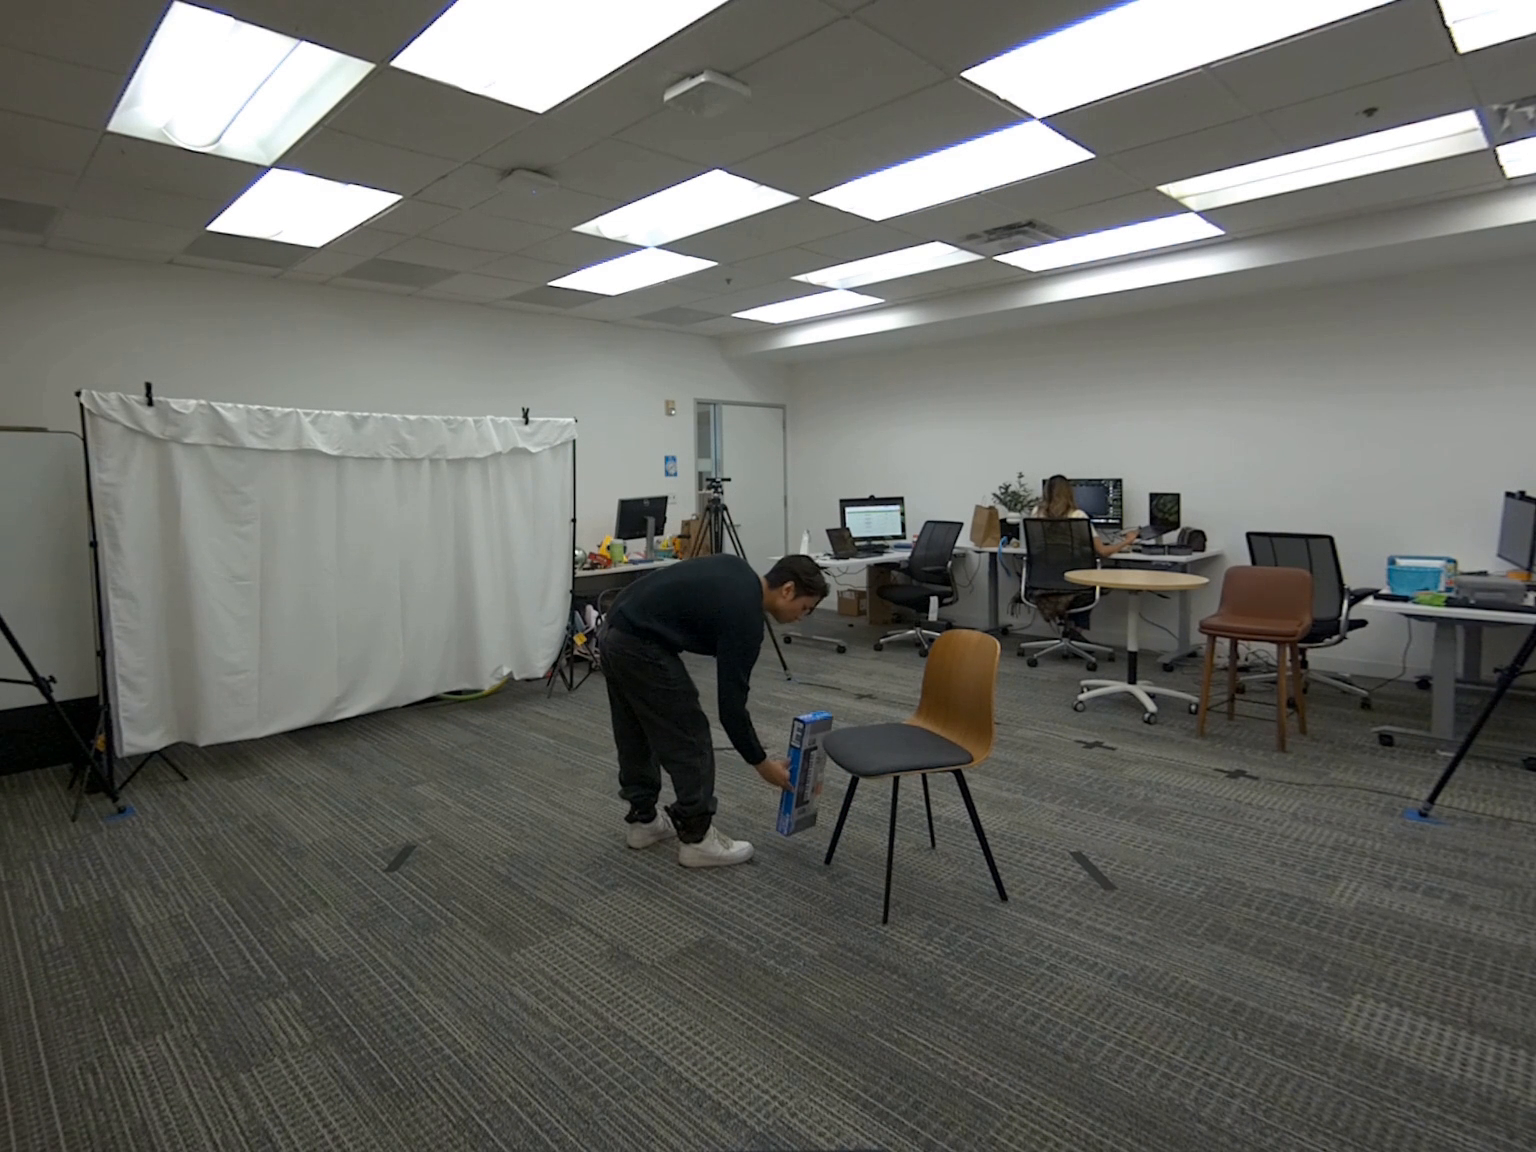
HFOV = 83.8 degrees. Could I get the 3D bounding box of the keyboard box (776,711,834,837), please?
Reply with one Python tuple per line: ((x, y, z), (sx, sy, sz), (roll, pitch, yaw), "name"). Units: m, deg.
((0.134, 0.725, 3.154), (0.061, 0.435, 0.171), (13, 8, 42), "keyboard box")
